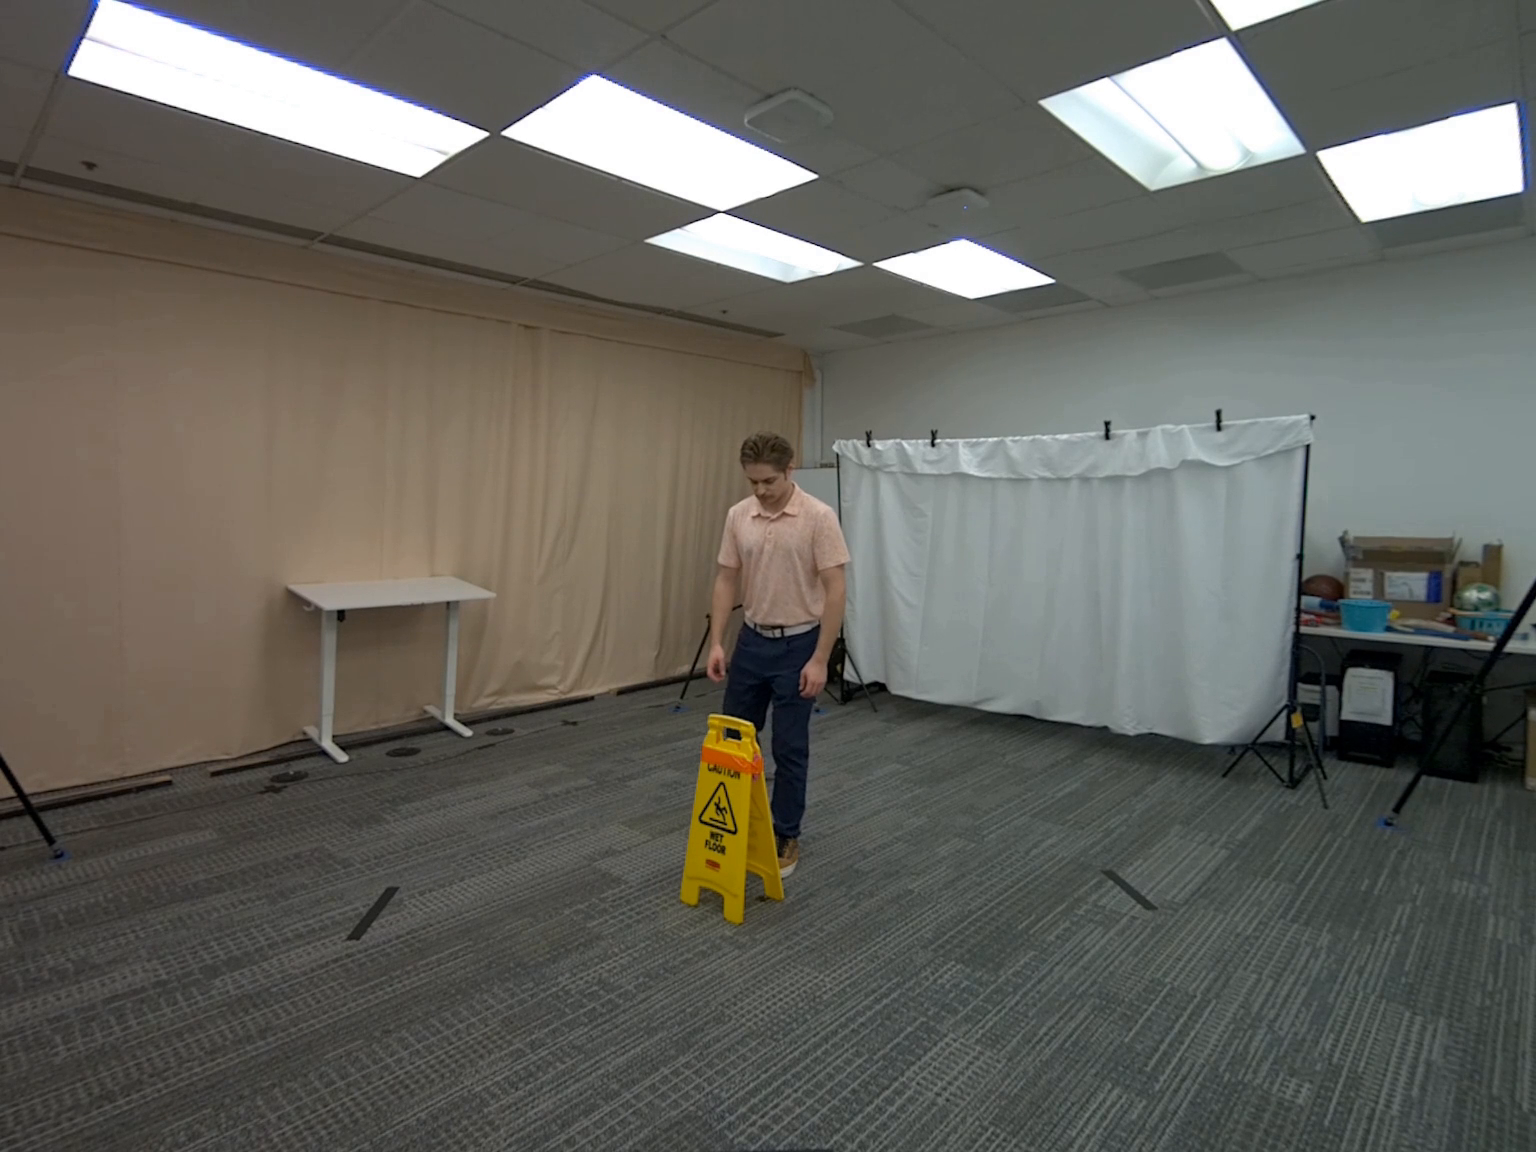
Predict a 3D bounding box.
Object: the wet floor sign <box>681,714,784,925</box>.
[{"bbox_3d":[-0.127,0.818,2.953,0.291,0.644,0.281,2,5,41],"label":"wet floor sign"}]
